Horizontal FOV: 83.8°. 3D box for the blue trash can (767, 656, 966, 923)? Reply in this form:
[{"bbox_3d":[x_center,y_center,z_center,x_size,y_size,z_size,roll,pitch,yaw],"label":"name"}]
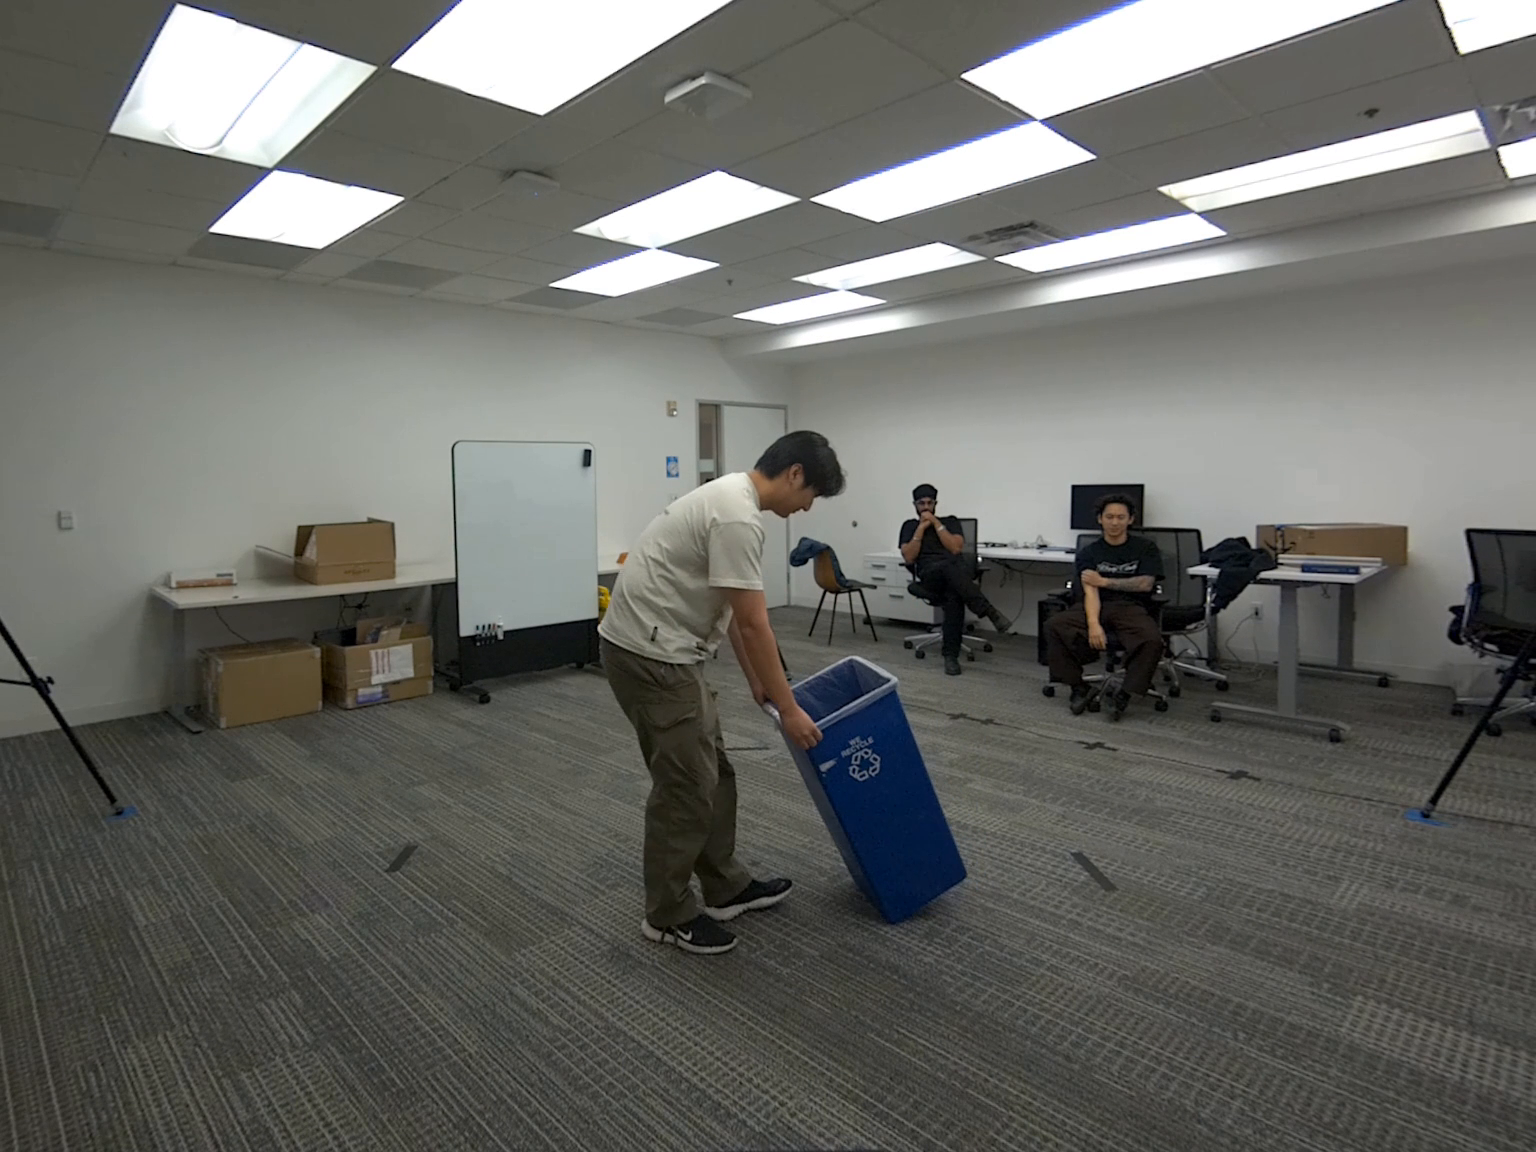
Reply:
[{"bbox_3d":[0.330,0.685,2.774,0.372,0.705,0.385,-26,11,-12],"label":"blue trash can"}]
